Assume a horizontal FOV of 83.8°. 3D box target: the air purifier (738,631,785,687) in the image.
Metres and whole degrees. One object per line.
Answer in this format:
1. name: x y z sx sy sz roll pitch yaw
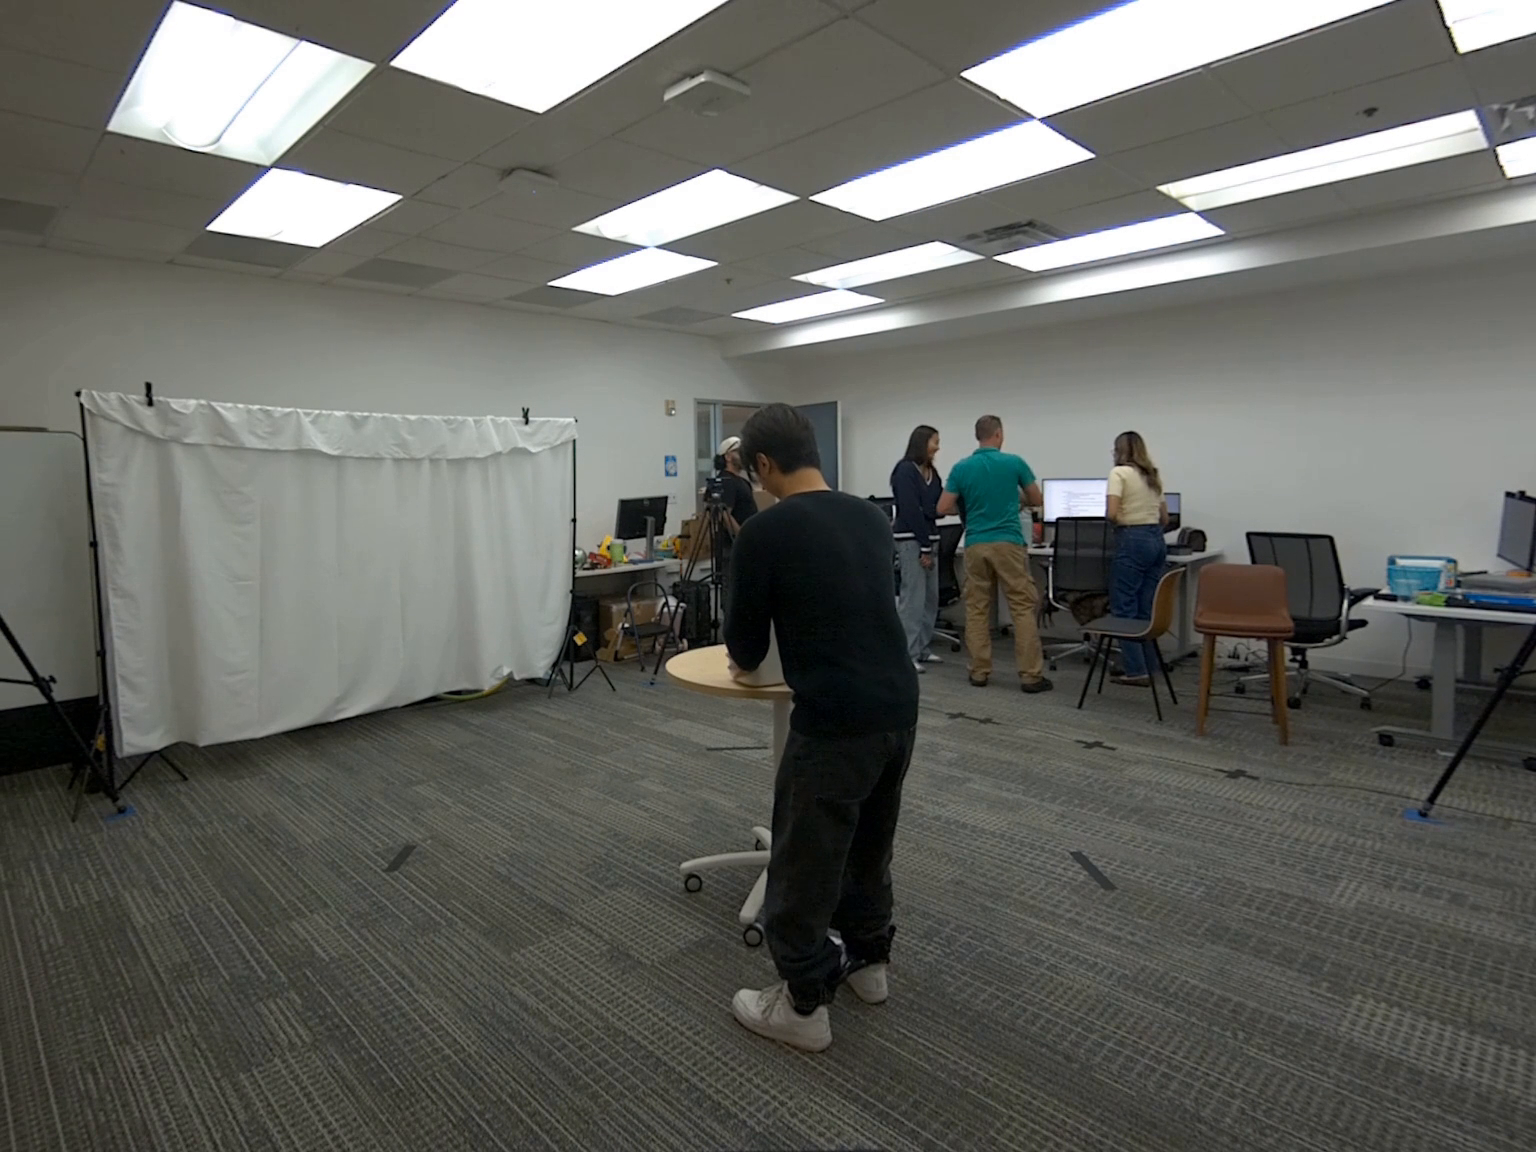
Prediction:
1. air purifier: -0.012 0.185 2.564 0.167 0.264 0.176 -3 5 -29
